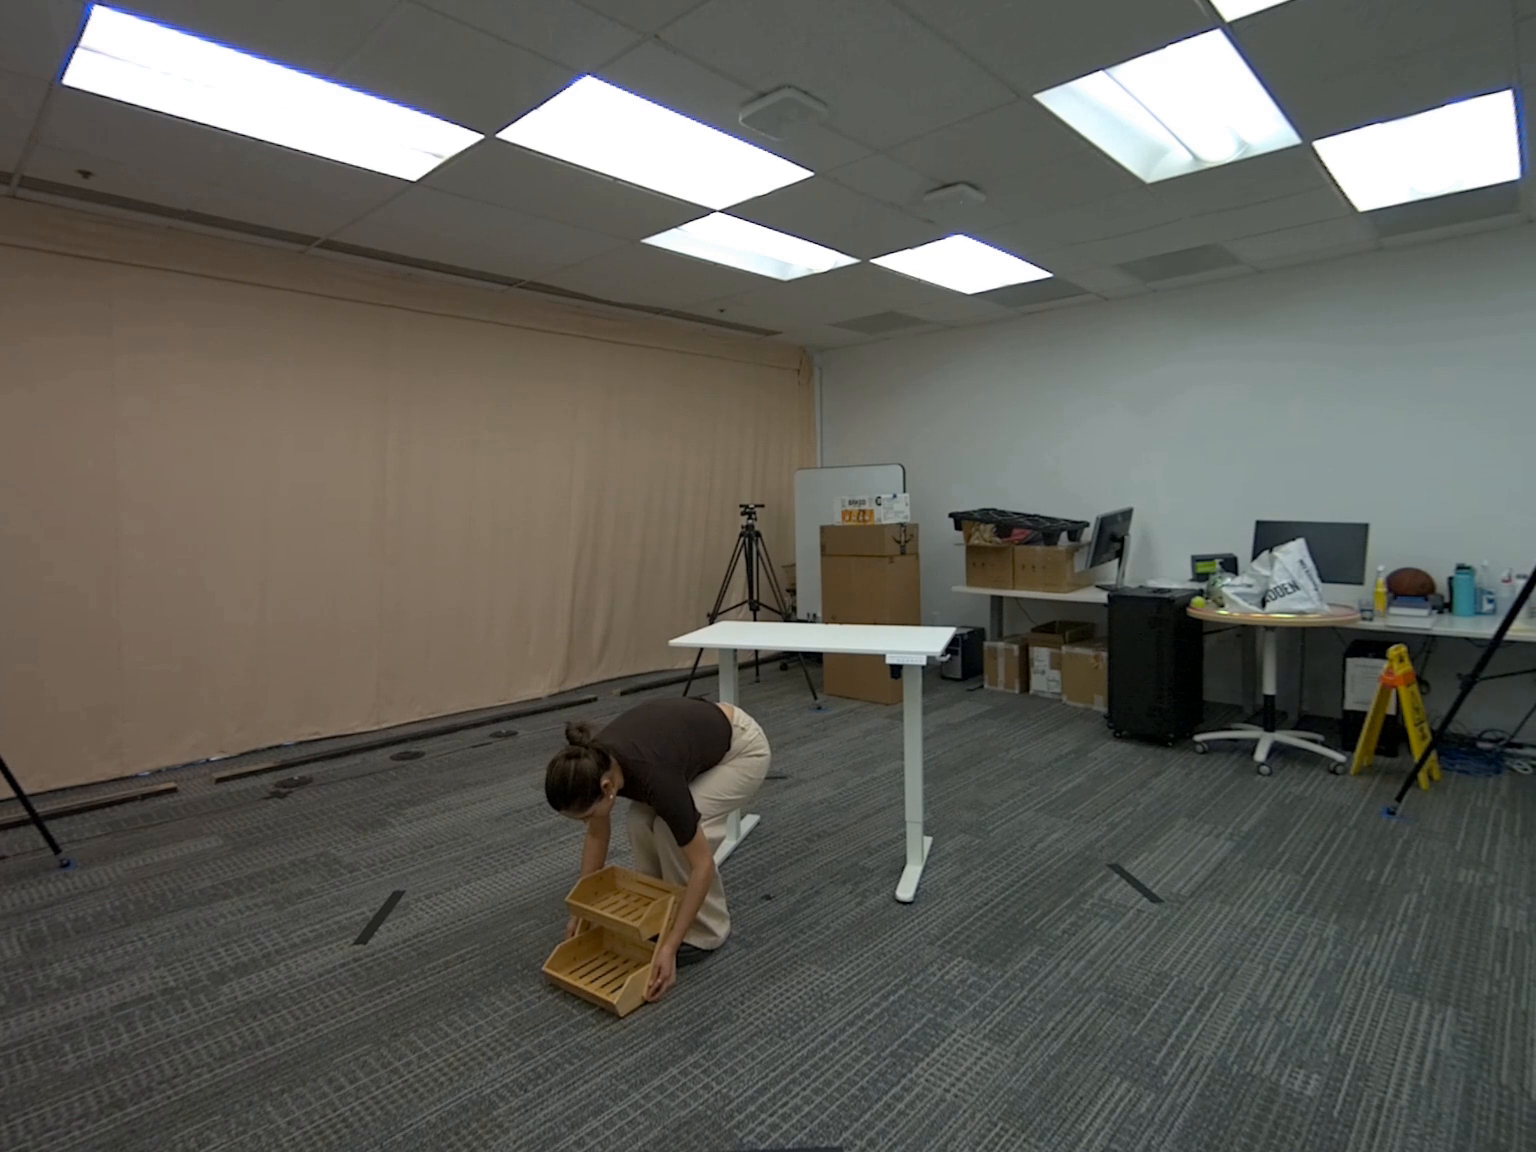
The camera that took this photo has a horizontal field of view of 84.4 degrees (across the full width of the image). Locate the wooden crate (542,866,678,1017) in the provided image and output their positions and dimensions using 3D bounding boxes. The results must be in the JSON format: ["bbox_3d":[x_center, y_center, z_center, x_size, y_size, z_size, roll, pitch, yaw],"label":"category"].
[{"bbox_3d":[-0.449,1.053,2.472,0.334,0.273,0.293,1,2,35],"label":"wooden crate"}]
